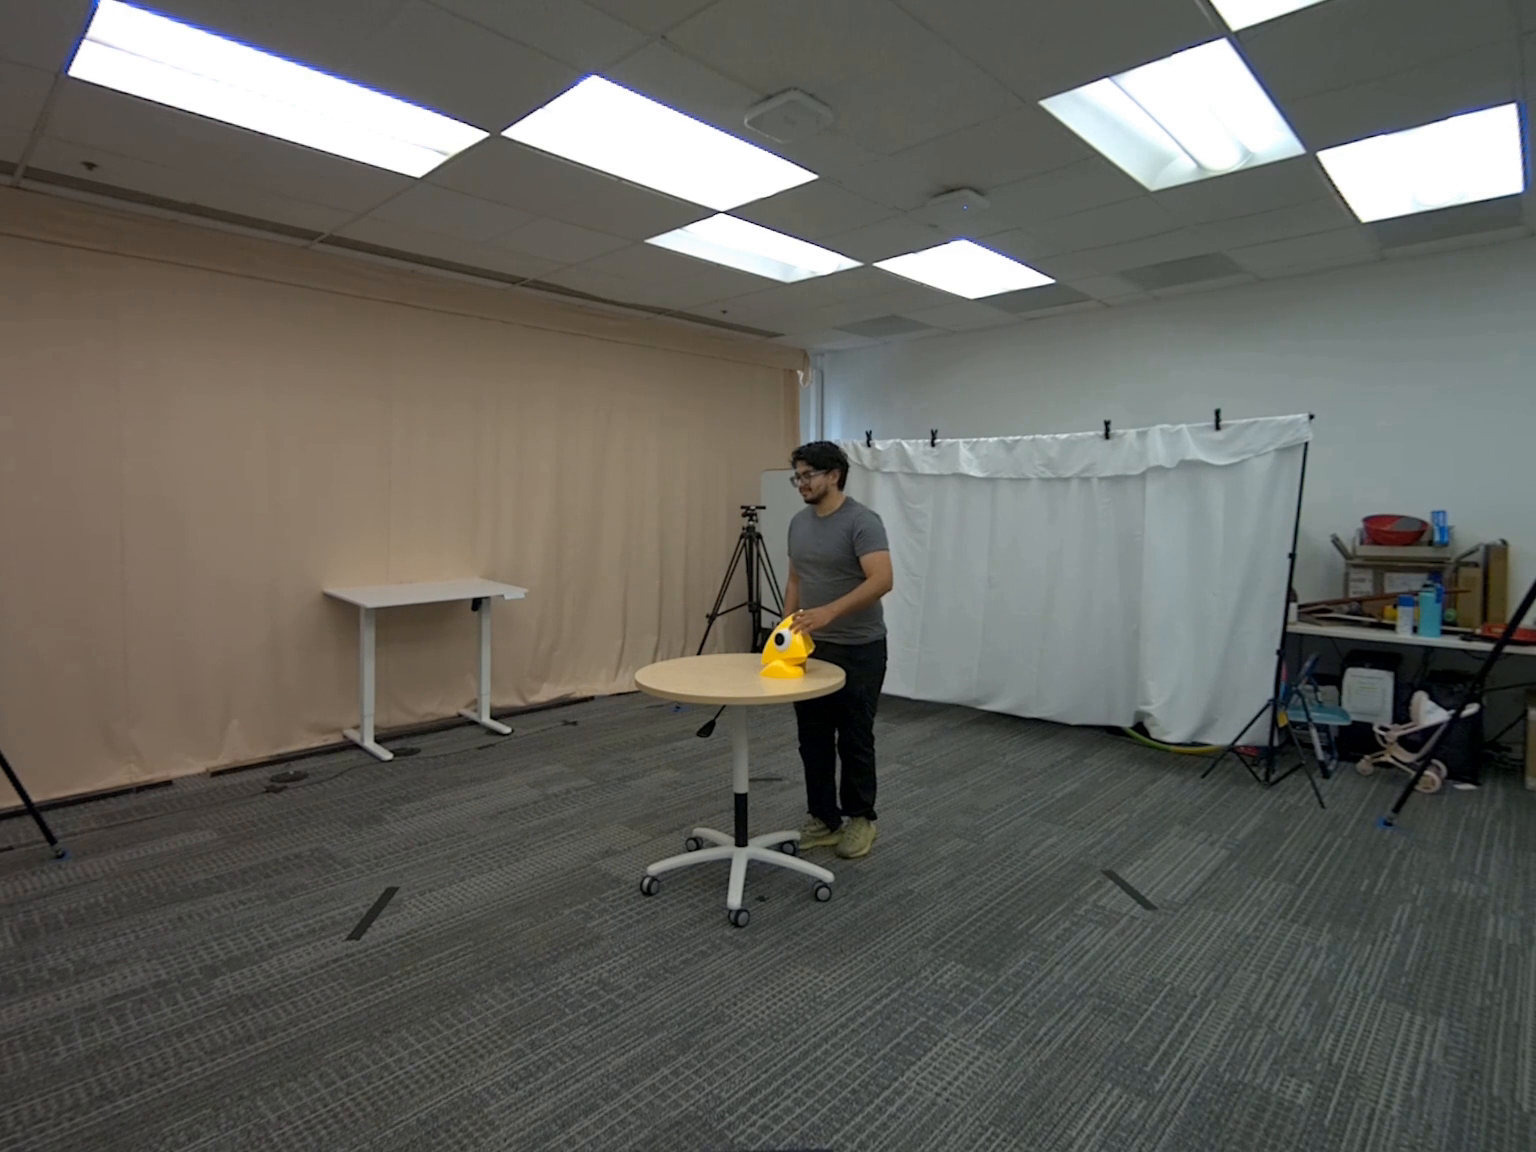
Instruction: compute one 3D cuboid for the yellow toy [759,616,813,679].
[{"bbox_3d":[0.067,0.237,3.063,0.196,0.230,0.202,2,4,12],"label":"yellow toy"}]
